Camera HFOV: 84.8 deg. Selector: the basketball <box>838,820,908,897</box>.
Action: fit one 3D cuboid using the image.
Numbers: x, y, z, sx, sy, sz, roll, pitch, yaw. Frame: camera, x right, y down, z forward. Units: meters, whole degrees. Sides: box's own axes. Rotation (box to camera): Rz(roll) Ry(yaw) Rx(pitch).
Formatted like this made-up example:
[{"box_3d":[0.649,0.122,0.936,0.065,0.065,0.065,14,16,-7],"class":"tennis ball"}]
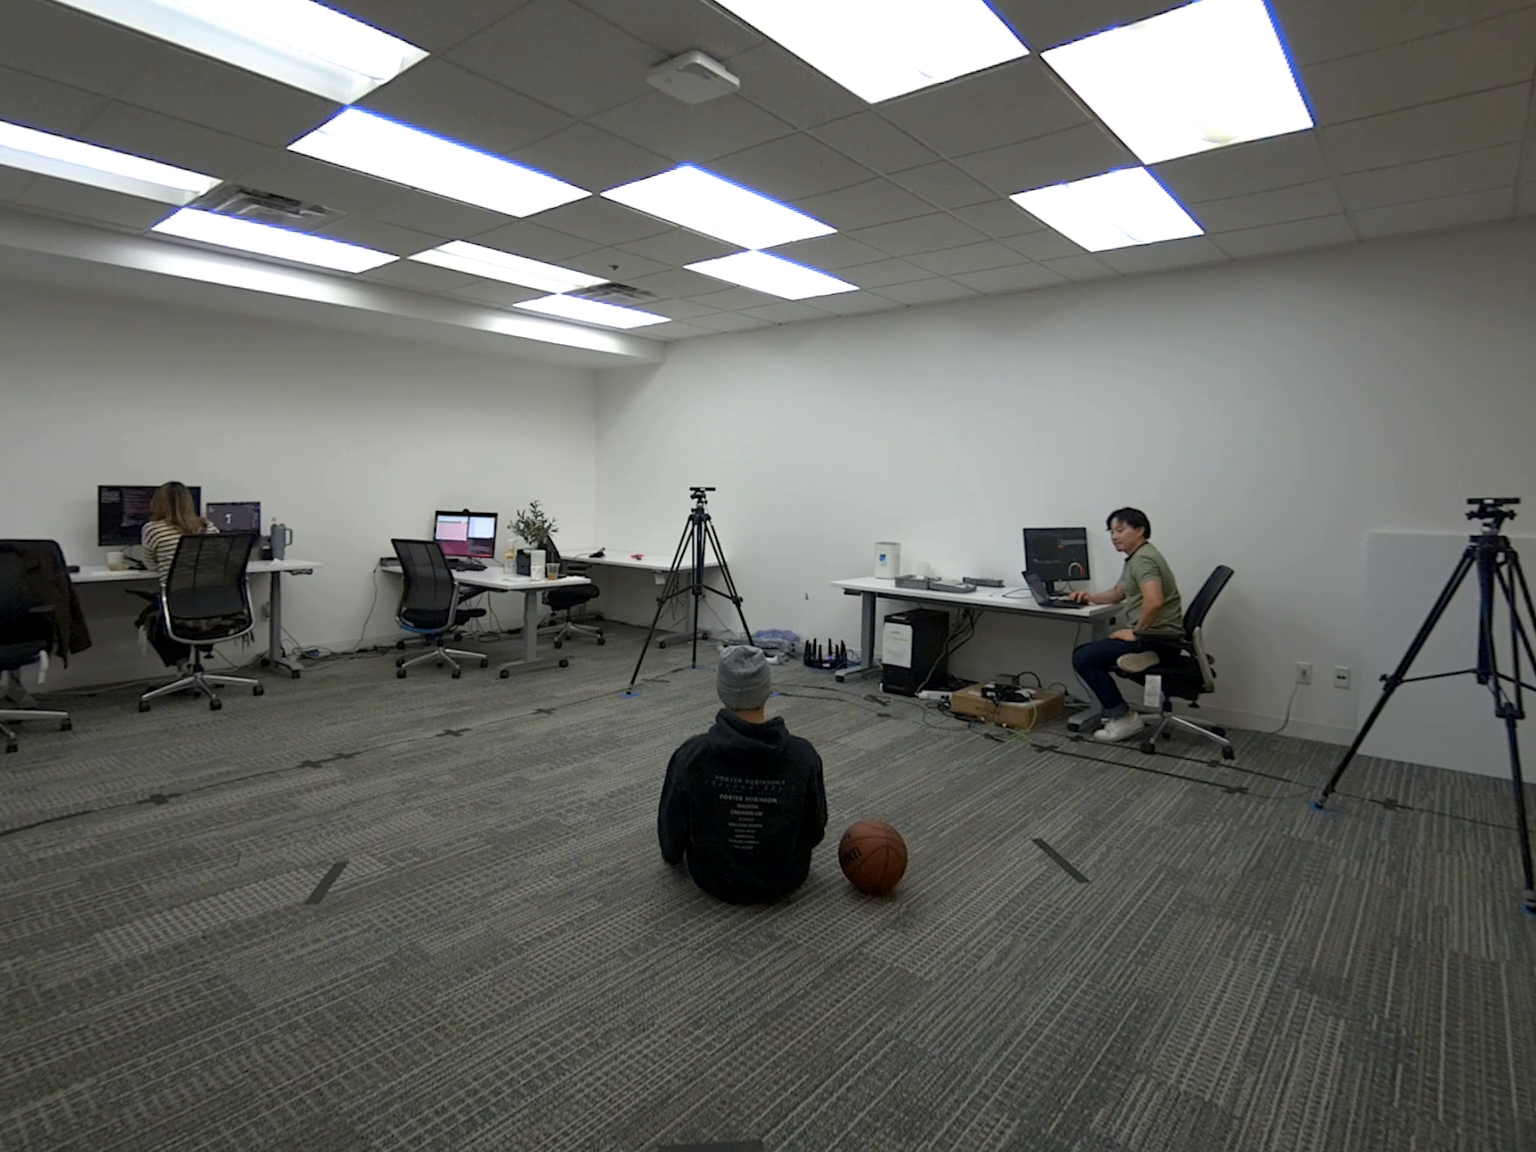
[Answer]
[{"box_3d":[0.359,0.973,2.970,0.235,0.235,0.237,1,4,-2],"class":"basketball"}]
